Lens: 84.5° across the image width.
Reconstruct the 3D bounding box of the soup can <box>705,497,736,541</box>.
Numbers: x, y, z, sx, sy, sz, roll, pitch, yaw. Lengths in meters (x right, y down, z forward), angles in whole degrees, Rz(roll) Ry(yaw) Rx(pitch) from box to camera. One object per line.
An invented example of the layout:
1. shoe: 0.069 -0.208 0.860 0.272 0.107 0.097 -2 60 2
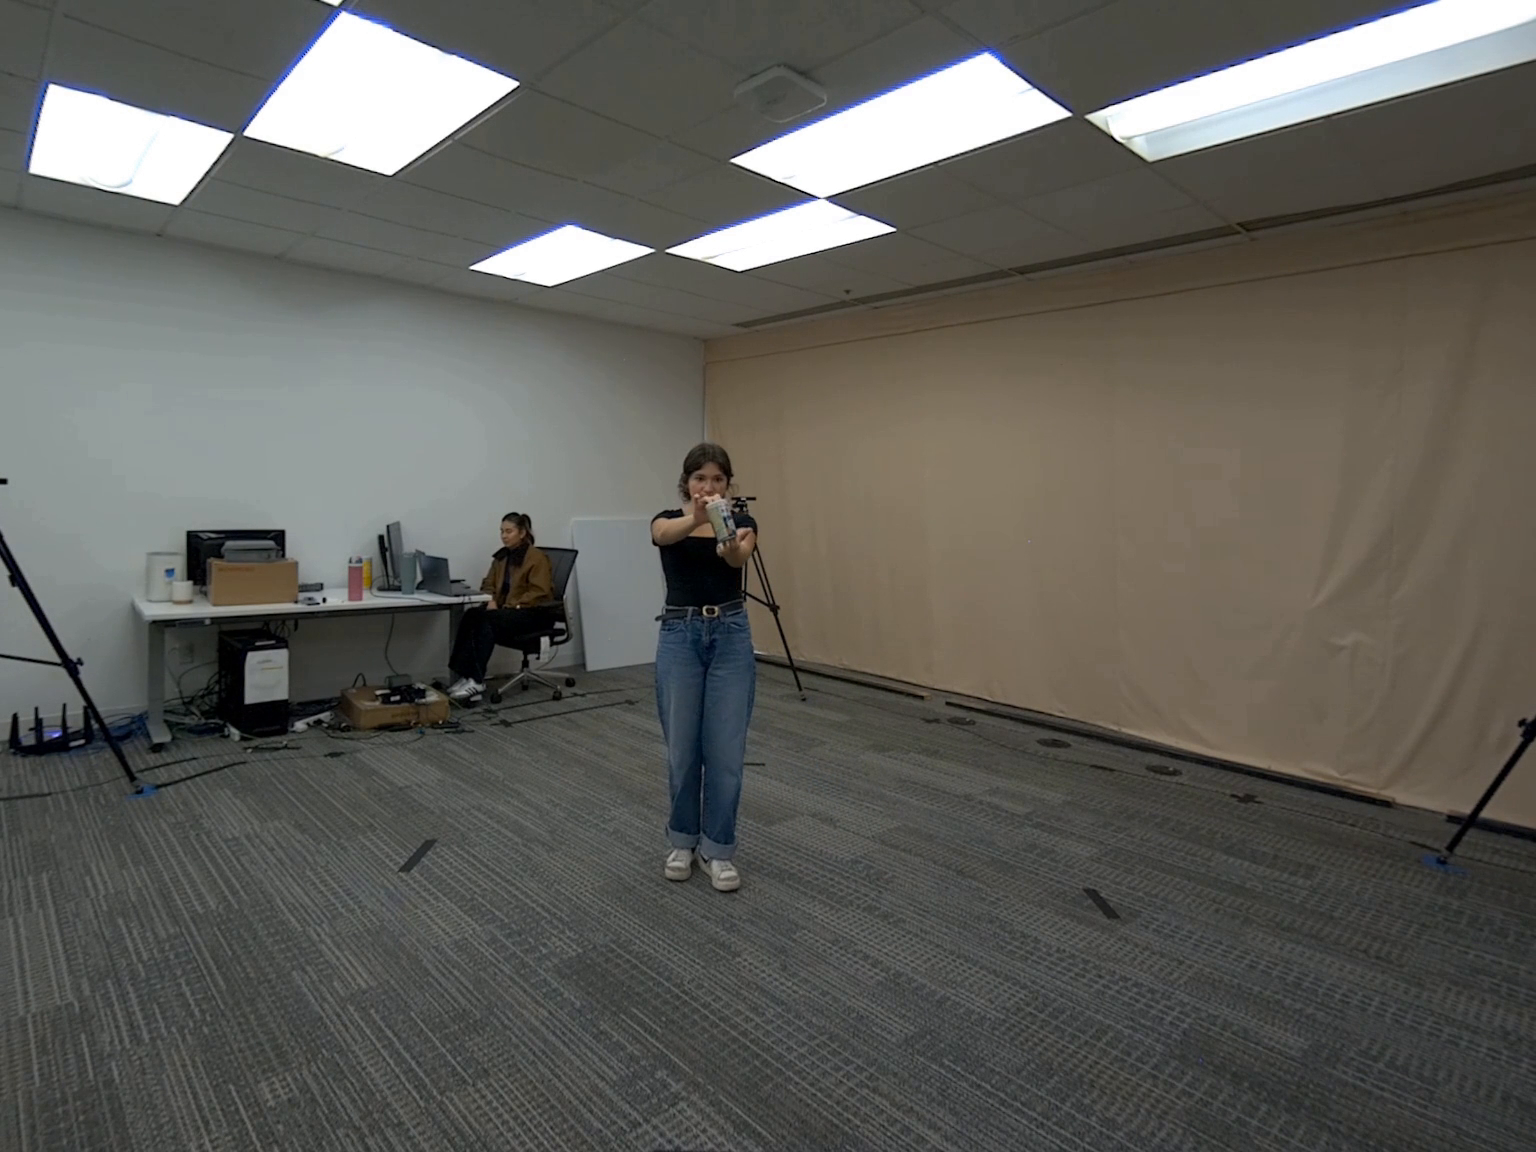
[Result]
1. soup can: -0.147 -0.166 2.524 0.067 0.122 0.067 -13 -2 -2
